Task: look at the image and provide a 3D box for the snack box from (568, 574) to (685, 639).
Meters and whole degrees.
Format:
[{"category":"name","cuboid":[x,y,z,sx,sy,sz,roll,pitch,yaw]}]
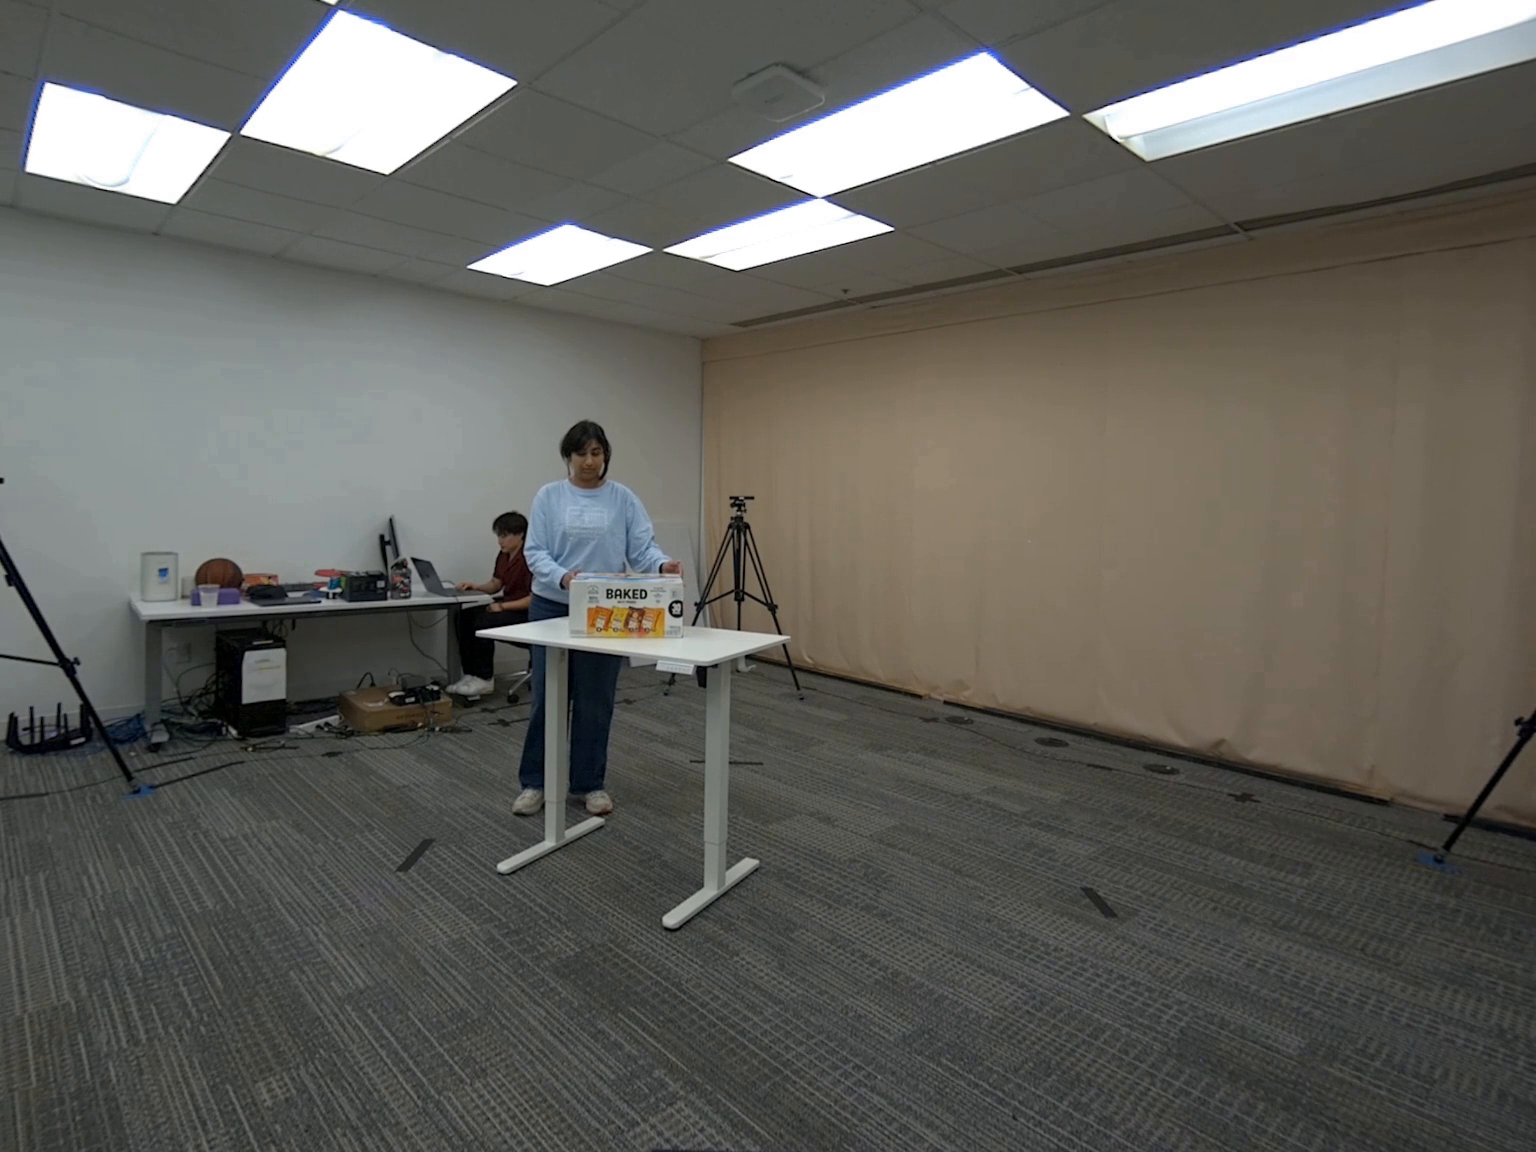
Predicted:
[{"category":"snack box","cuboid":[-0.536,0.108,3.167,0.403,0.205,0.343,0,4,-7]}]
